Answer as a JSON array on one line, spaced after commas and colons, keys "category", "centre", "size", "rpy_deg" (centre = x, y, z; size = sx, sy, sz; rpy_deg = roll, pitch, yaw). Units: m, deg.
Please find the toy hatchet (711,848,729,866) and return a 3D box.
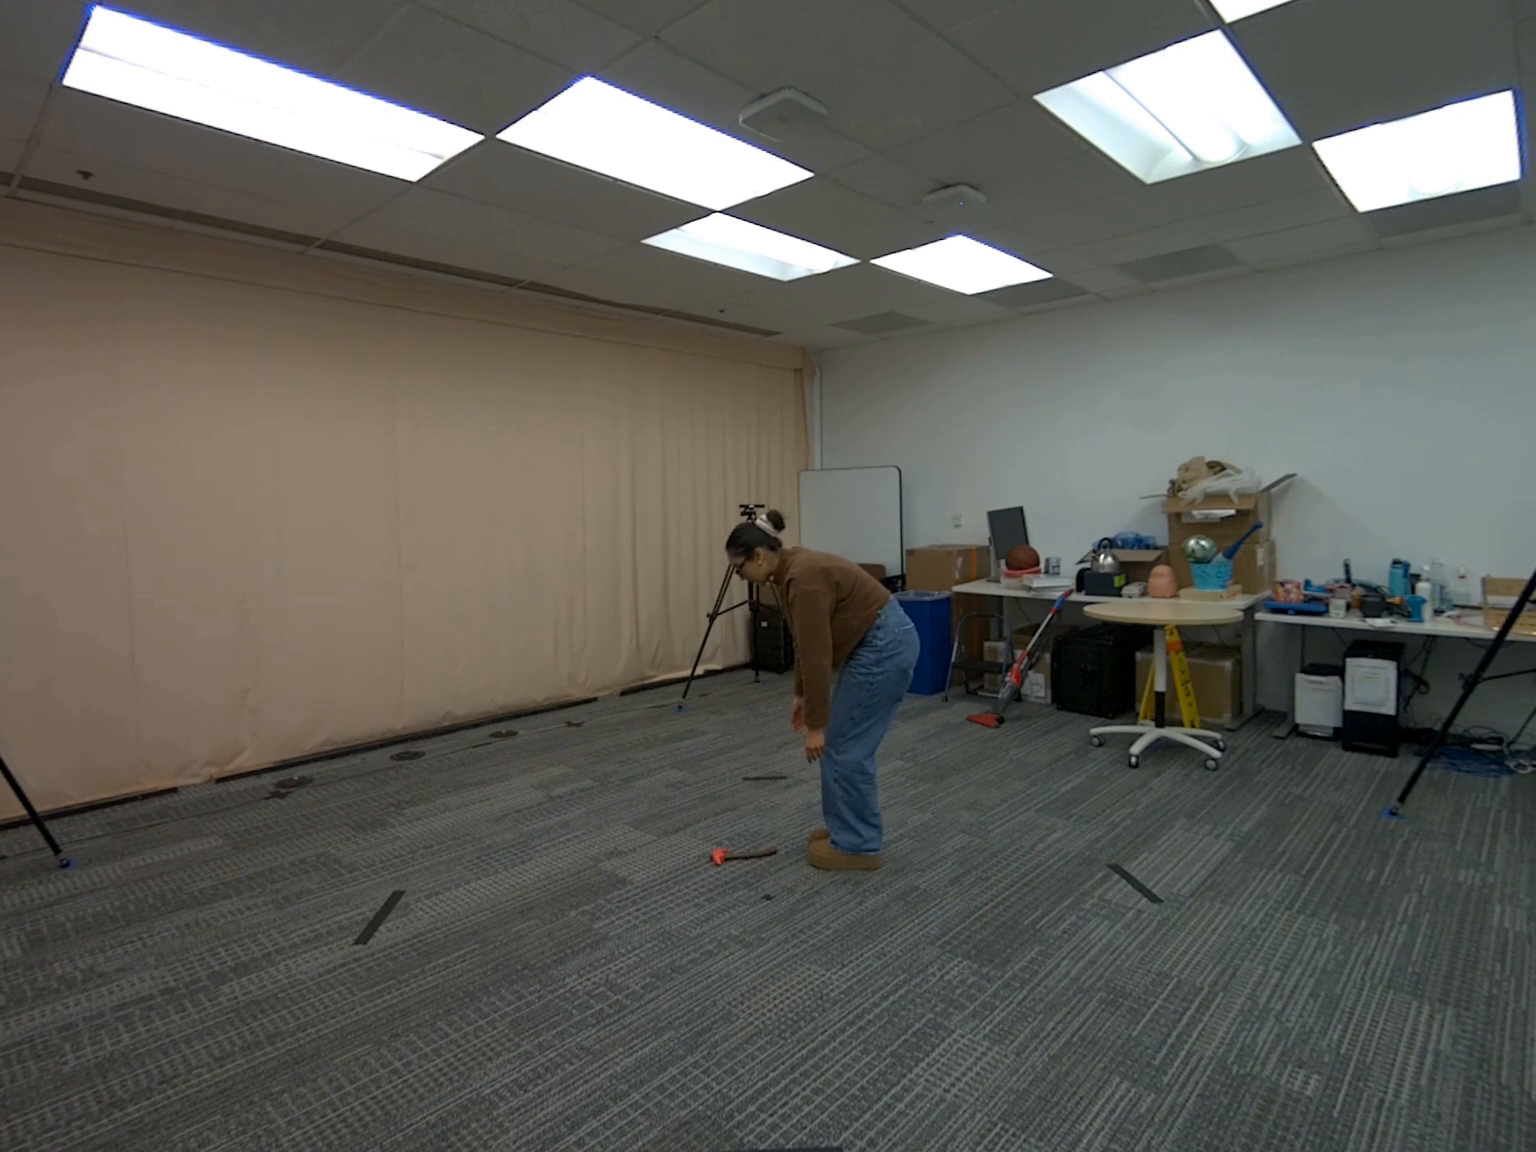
[{"category": "toy hatchet", "centre": [-0.102, 1.101, 3.350], "size": [0.263, 0.029, 0.134], "rpy_deg": [-2, 5, -27]}]
